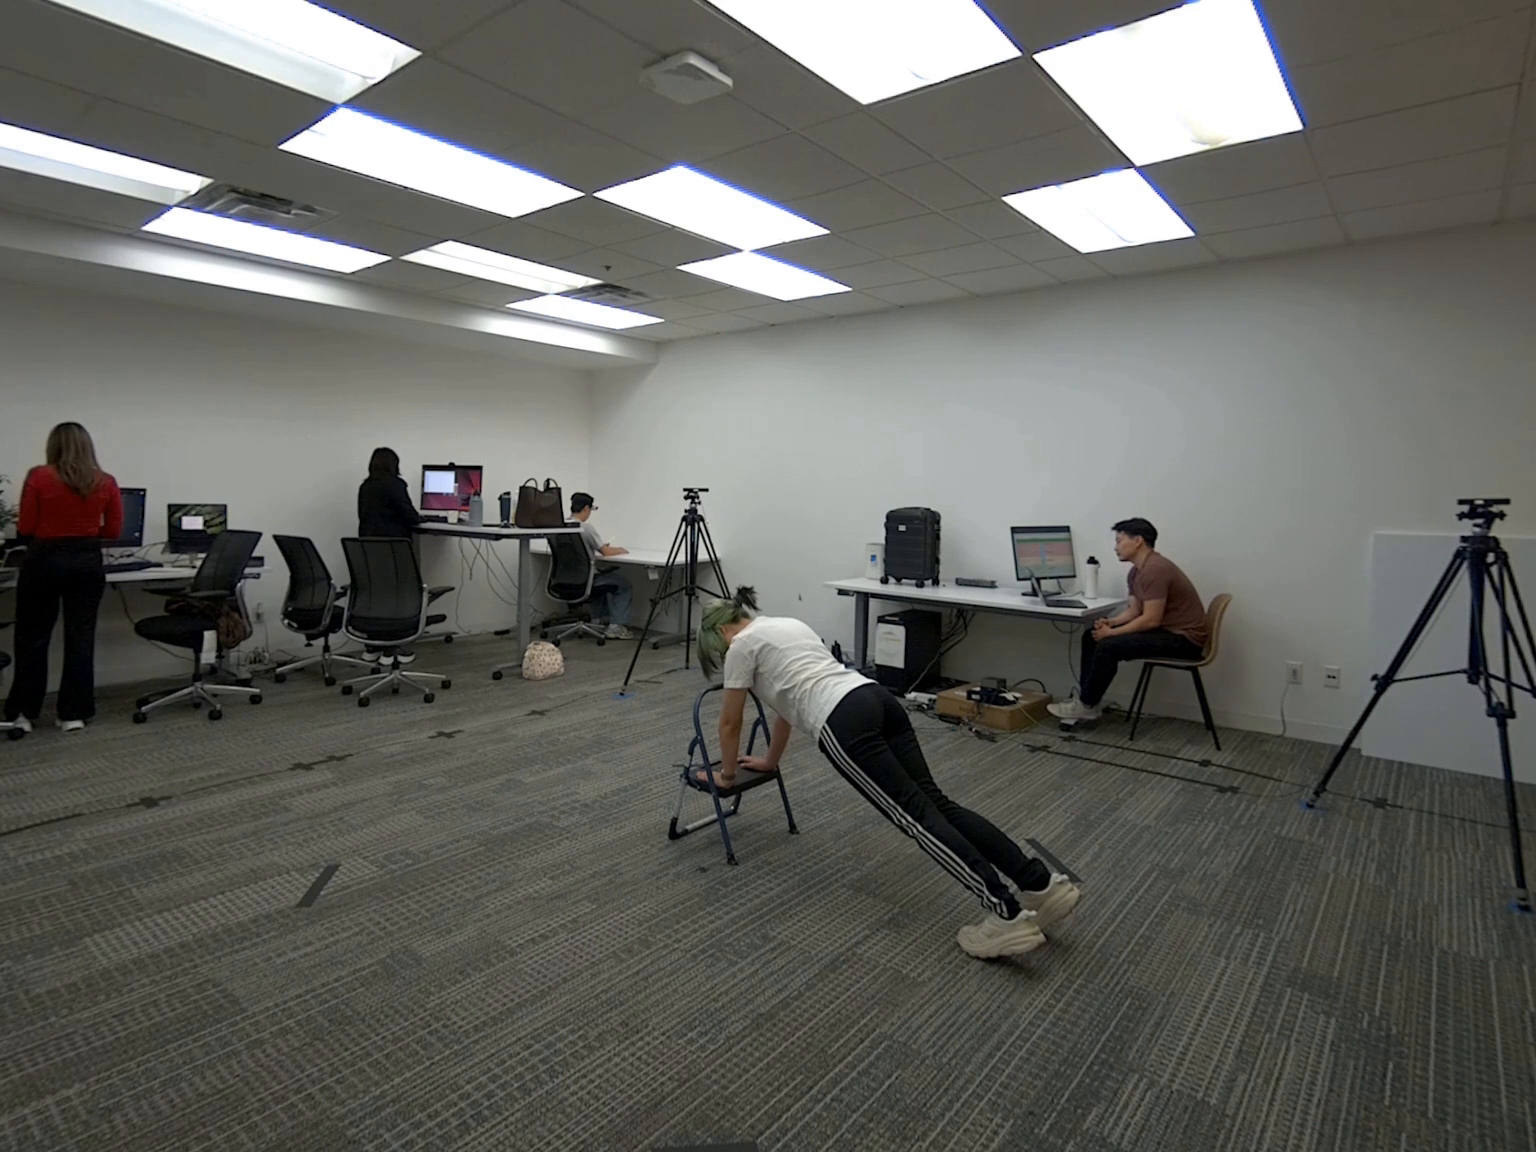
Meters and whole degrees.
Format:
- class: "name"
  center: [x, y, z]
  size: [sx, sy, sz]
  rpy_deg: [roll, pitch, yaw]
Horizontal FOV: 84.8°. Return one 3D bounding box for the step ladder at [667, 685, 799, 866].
- class: "step ladder"
  center: [-0.143, 0.740, 3.402]
  size: [0.361, 0.604, 0.418]
  rpy_deg: [4, 4, 38]
